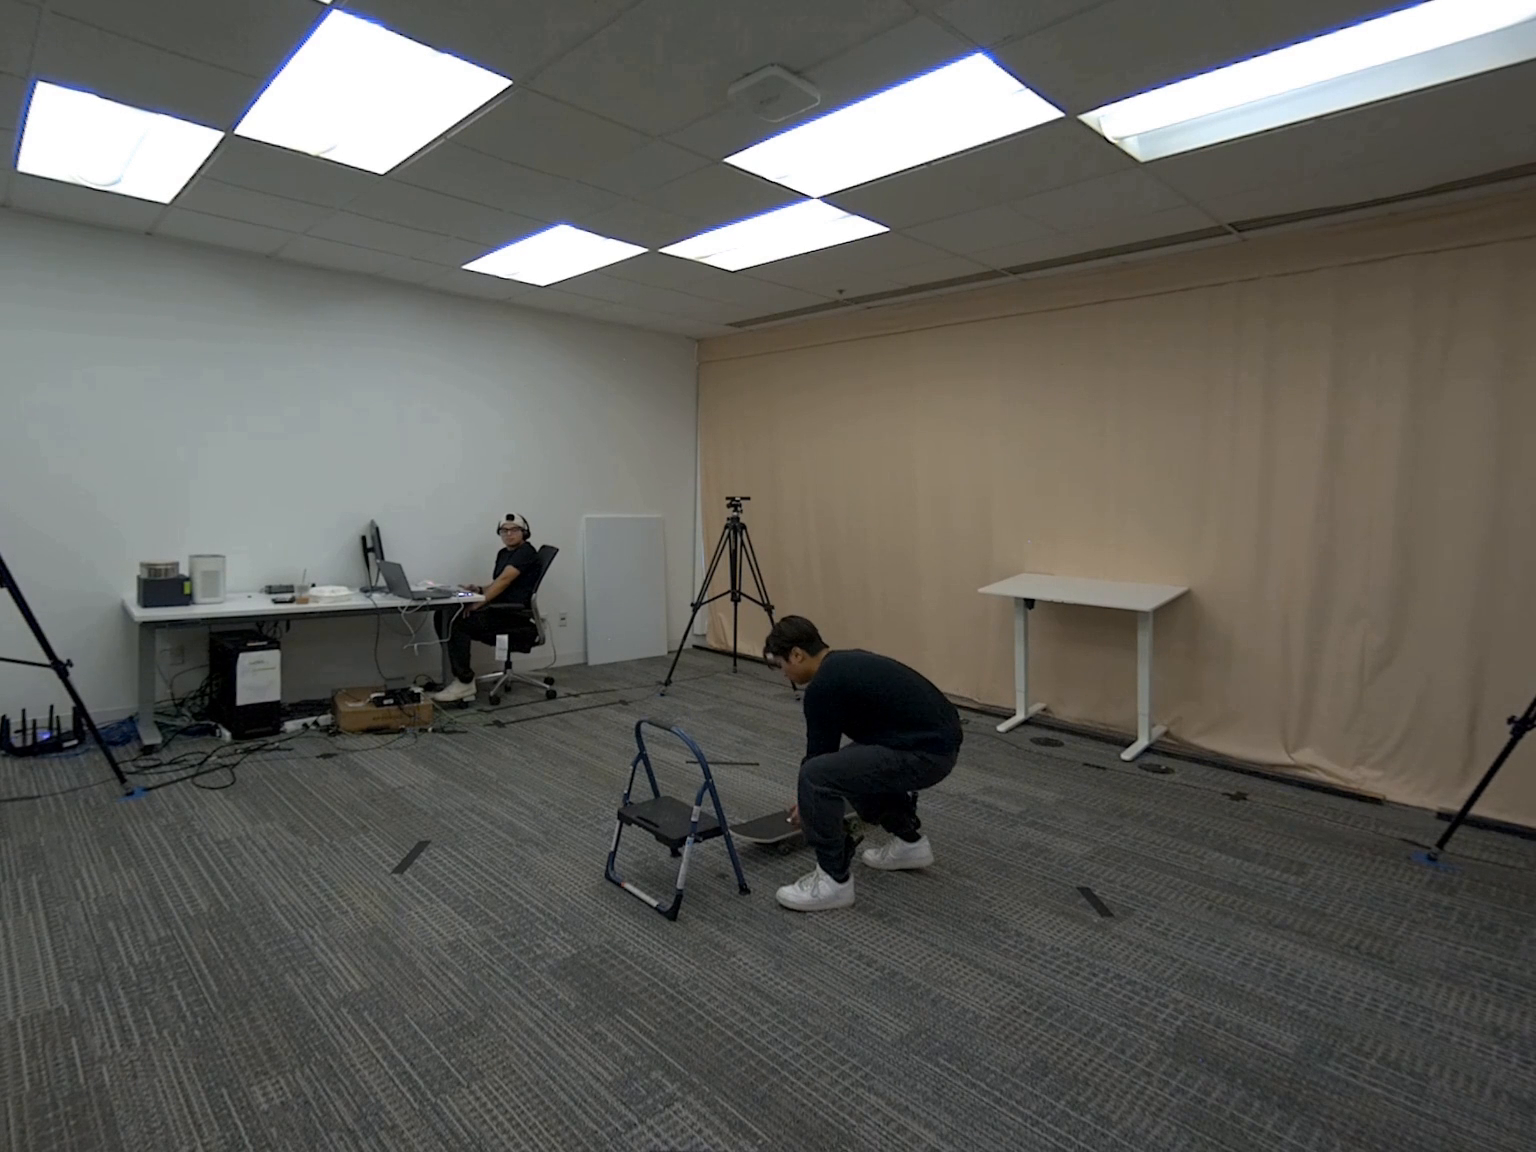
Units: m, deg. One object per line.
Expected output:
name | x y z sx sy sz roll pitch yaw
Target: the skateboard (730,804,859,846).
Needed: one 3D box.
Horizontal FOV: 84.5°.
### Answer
skateboard | 0.158 1.024 3.483 0.768 0.110 0.198 -3 6 -40
